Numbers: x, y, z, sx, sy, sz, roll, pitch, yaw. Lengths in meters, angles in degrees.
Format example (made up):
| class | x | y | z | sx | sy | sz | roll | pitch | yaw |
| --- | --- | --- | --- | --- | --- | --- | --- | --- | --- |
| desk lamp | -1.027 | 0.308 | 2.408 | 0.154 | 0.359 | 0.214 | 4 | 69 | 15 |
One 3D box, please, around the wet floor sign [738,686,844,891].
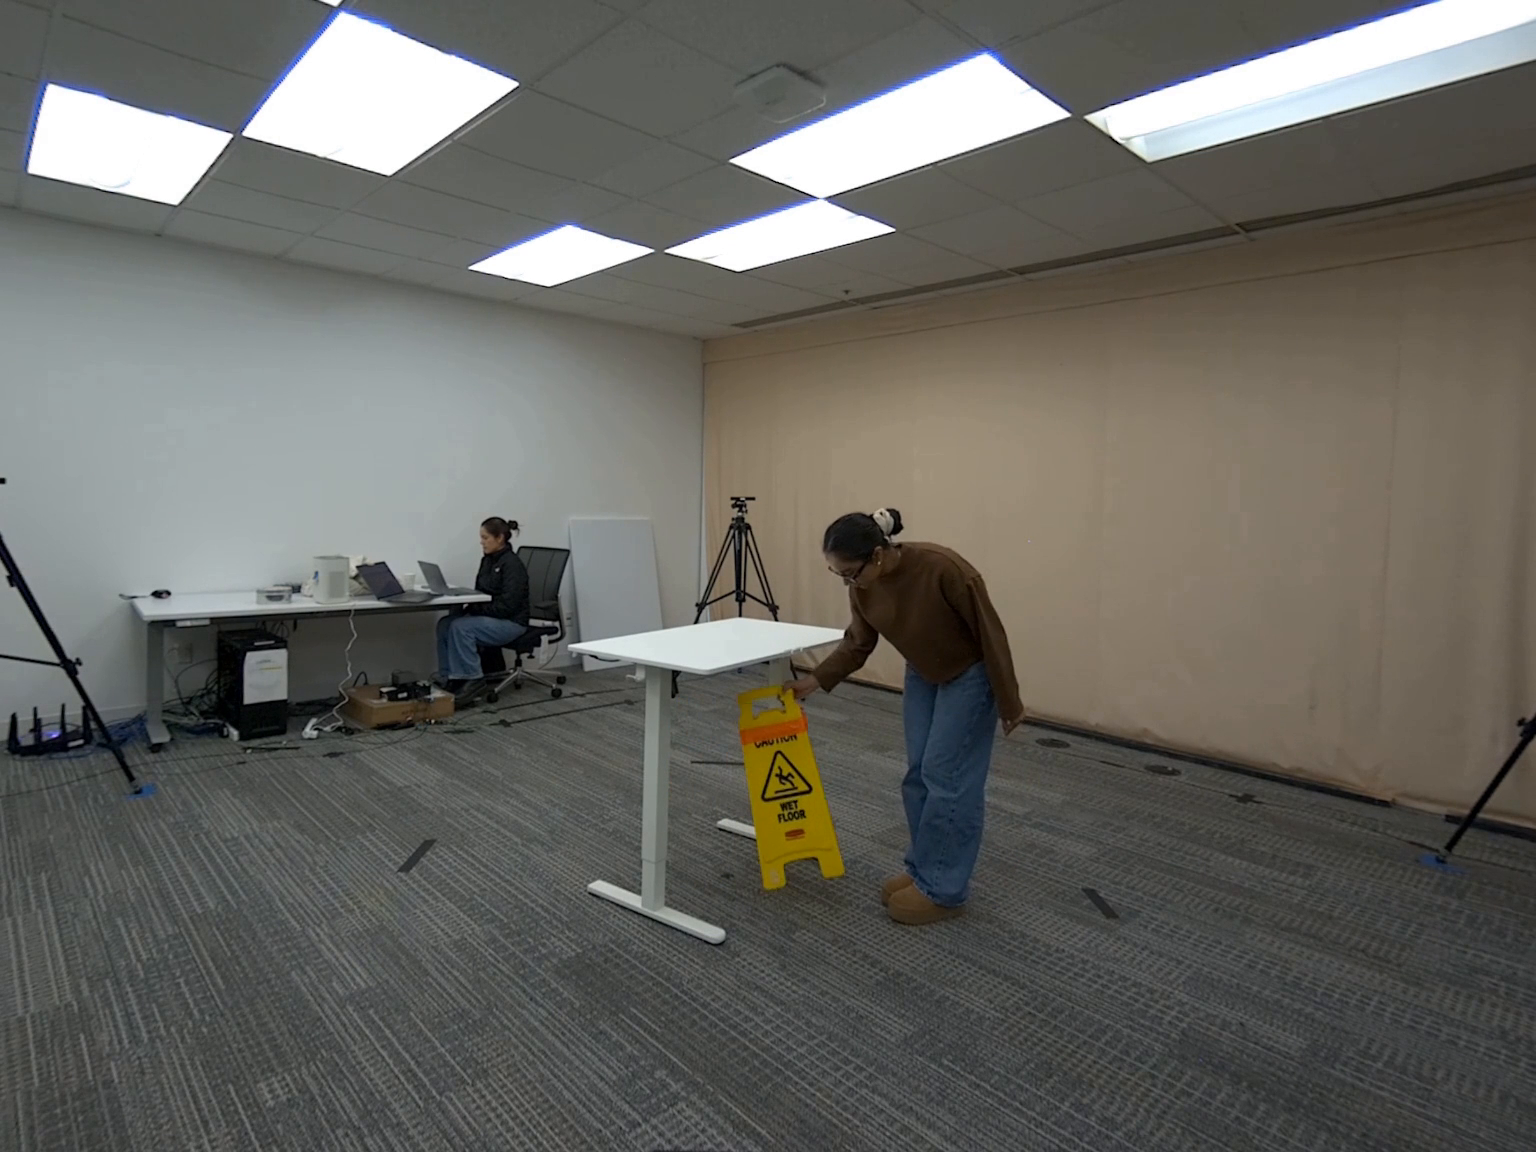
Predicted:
| class | x | y | z | sx | sy | sz | roll | pitch | yaw |
| --- | --- | --- | --- | --- | --- | --- | --- | --- | --- |
| wet floor sign | 0.050 | 0.714 | 2.973 | 0.282 | 0.646 | 0.290 | -11 | 1 | 0 |
